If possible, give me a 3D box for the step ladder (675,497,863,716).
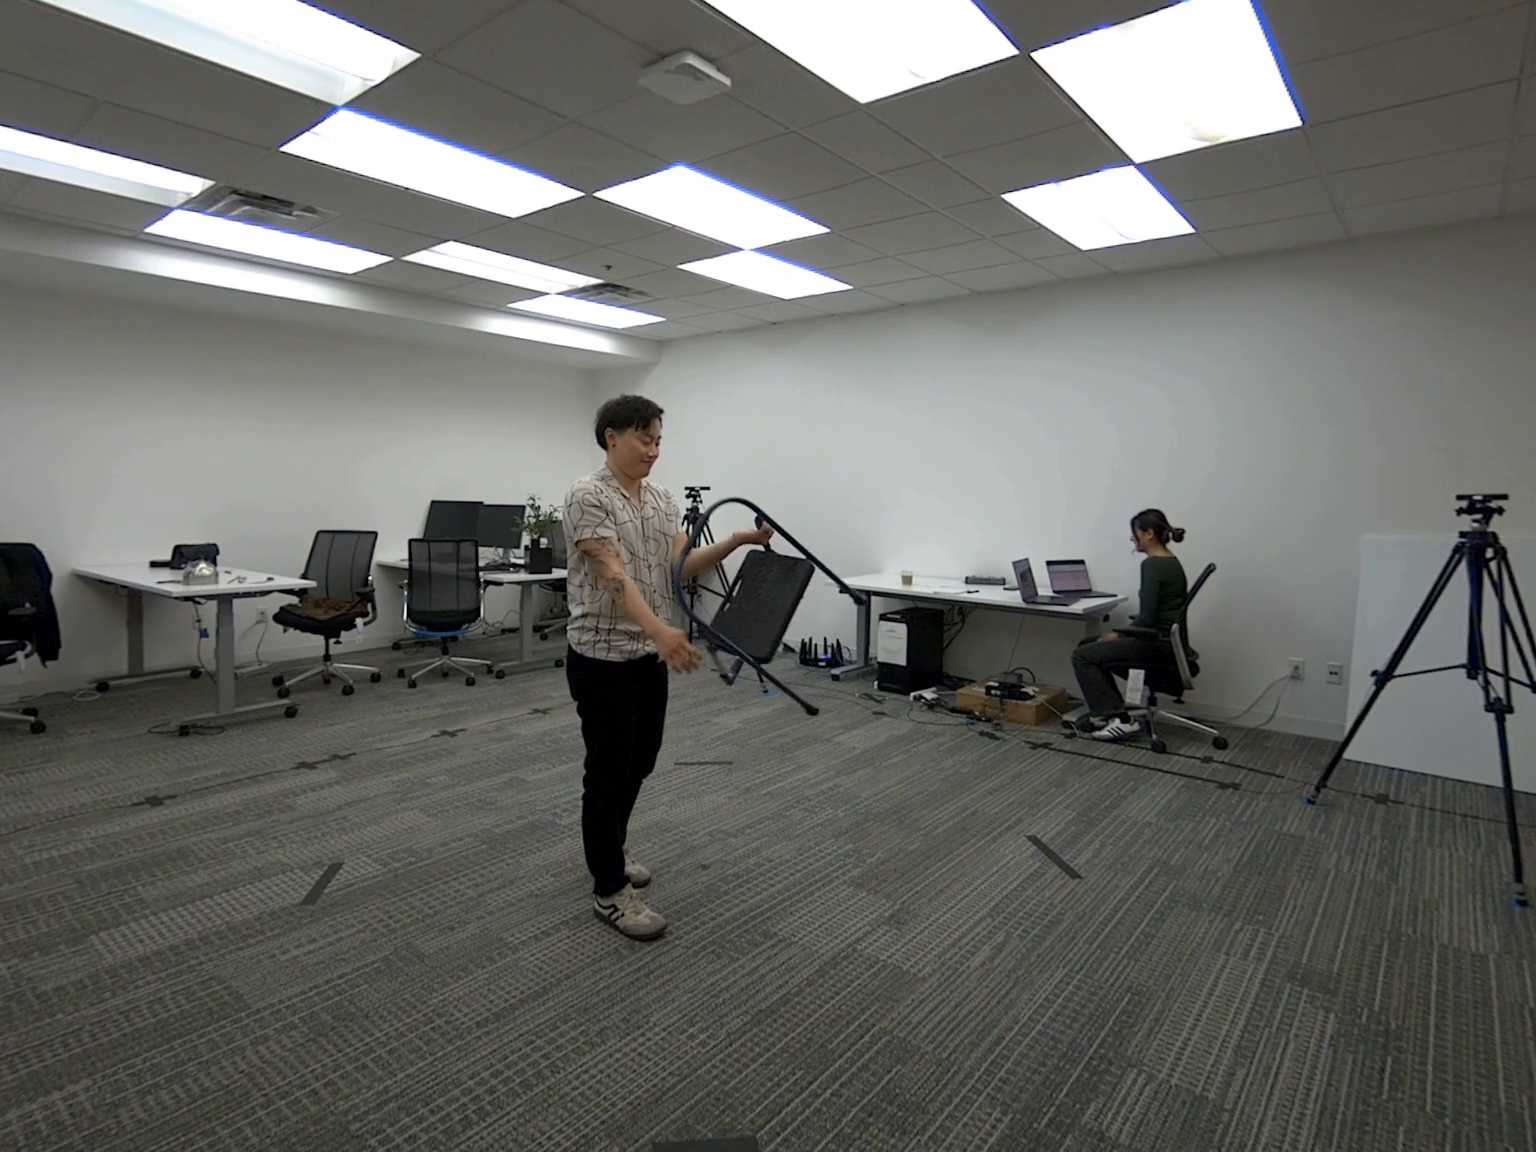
[{"bbox_3d":[-0.030,0.053,2.564,0.361,0.434,0.581,10,-28,35],"label":"step ladder"}]
